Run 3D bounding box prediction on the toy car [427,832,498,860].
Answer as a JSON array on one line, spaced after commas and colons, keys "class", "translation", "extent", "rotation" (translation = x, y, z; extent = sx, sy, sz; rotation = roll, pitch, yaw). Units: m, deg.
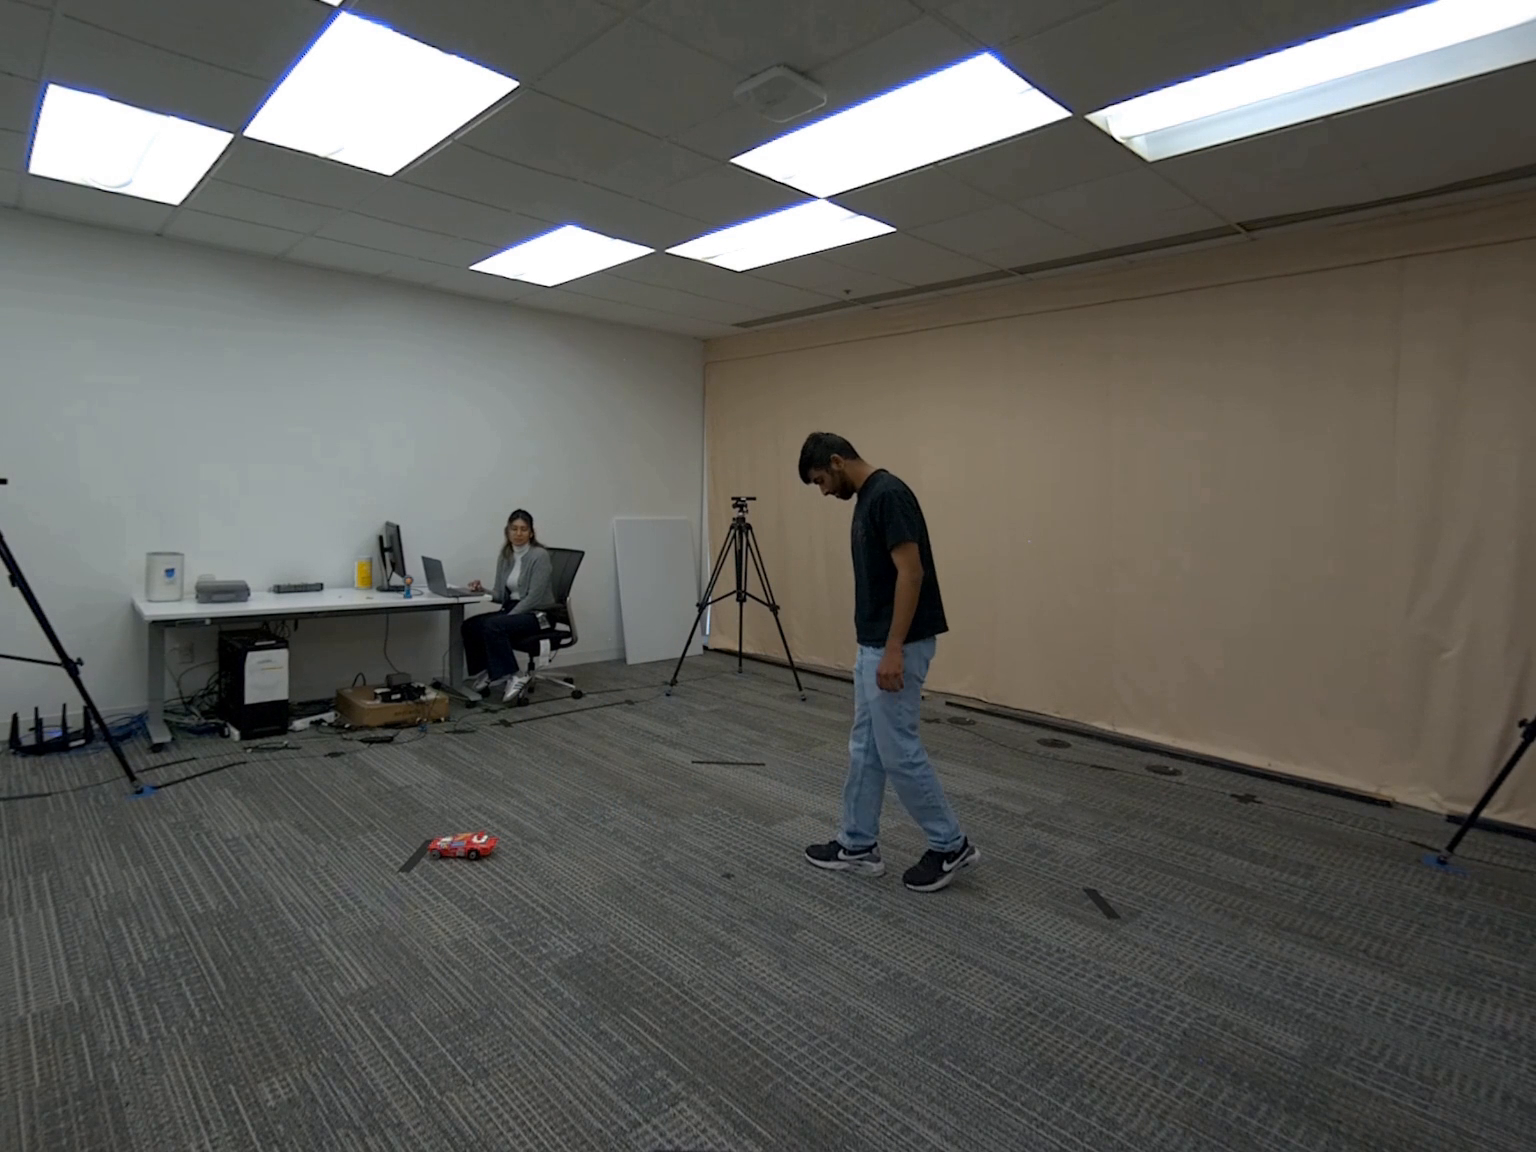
[{"class": "toy car", "translation": [-1.169, 1.036, 3.238], "extent": [0.255, 0.083, 0.130], "rotation": [-9, 4, 1]}]
